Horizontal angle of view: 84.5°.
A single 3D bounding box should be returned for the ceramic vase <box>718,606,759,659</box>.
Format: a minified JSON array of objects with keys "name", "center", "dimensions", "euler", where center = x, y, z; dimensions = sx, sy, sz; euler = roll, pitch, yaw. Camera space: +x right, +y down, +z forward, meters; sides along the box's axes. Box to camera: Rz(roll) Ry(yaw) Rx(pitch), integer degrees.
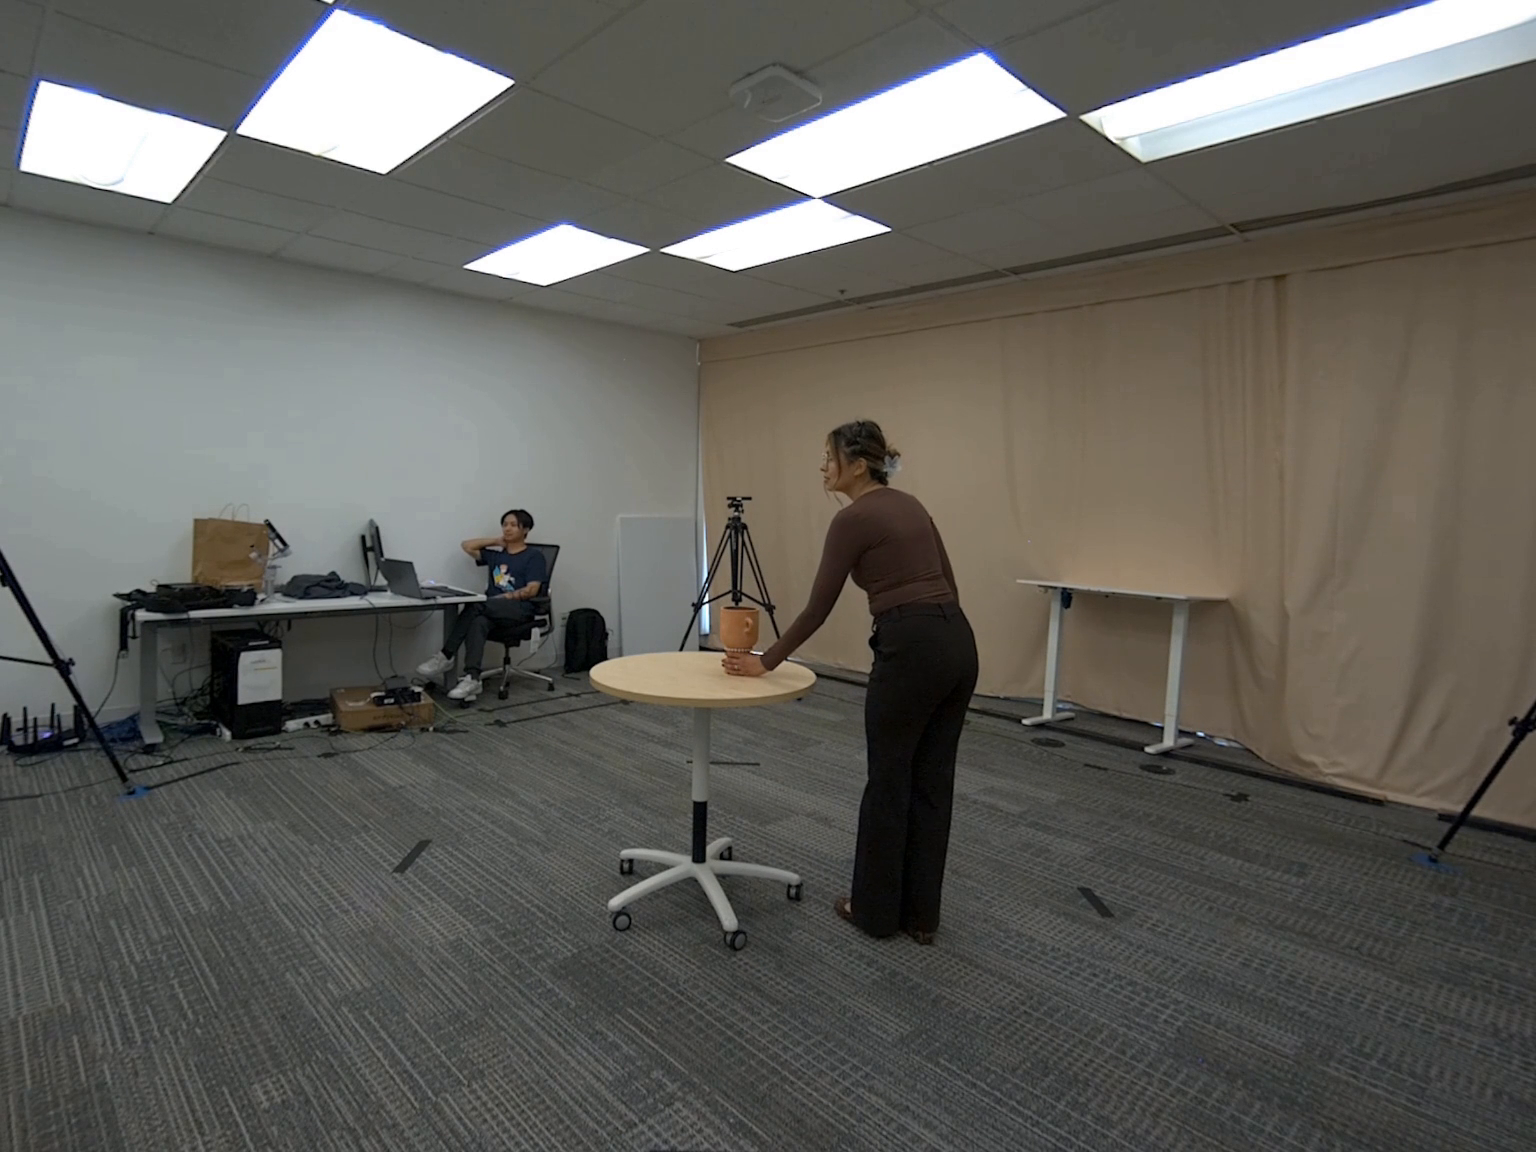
[{"name":"ceramic vase","center":[-0.095,0.221,2.872],"dimensions":[0.136,0.219,0.157],"euler":[4,5,15]}]
